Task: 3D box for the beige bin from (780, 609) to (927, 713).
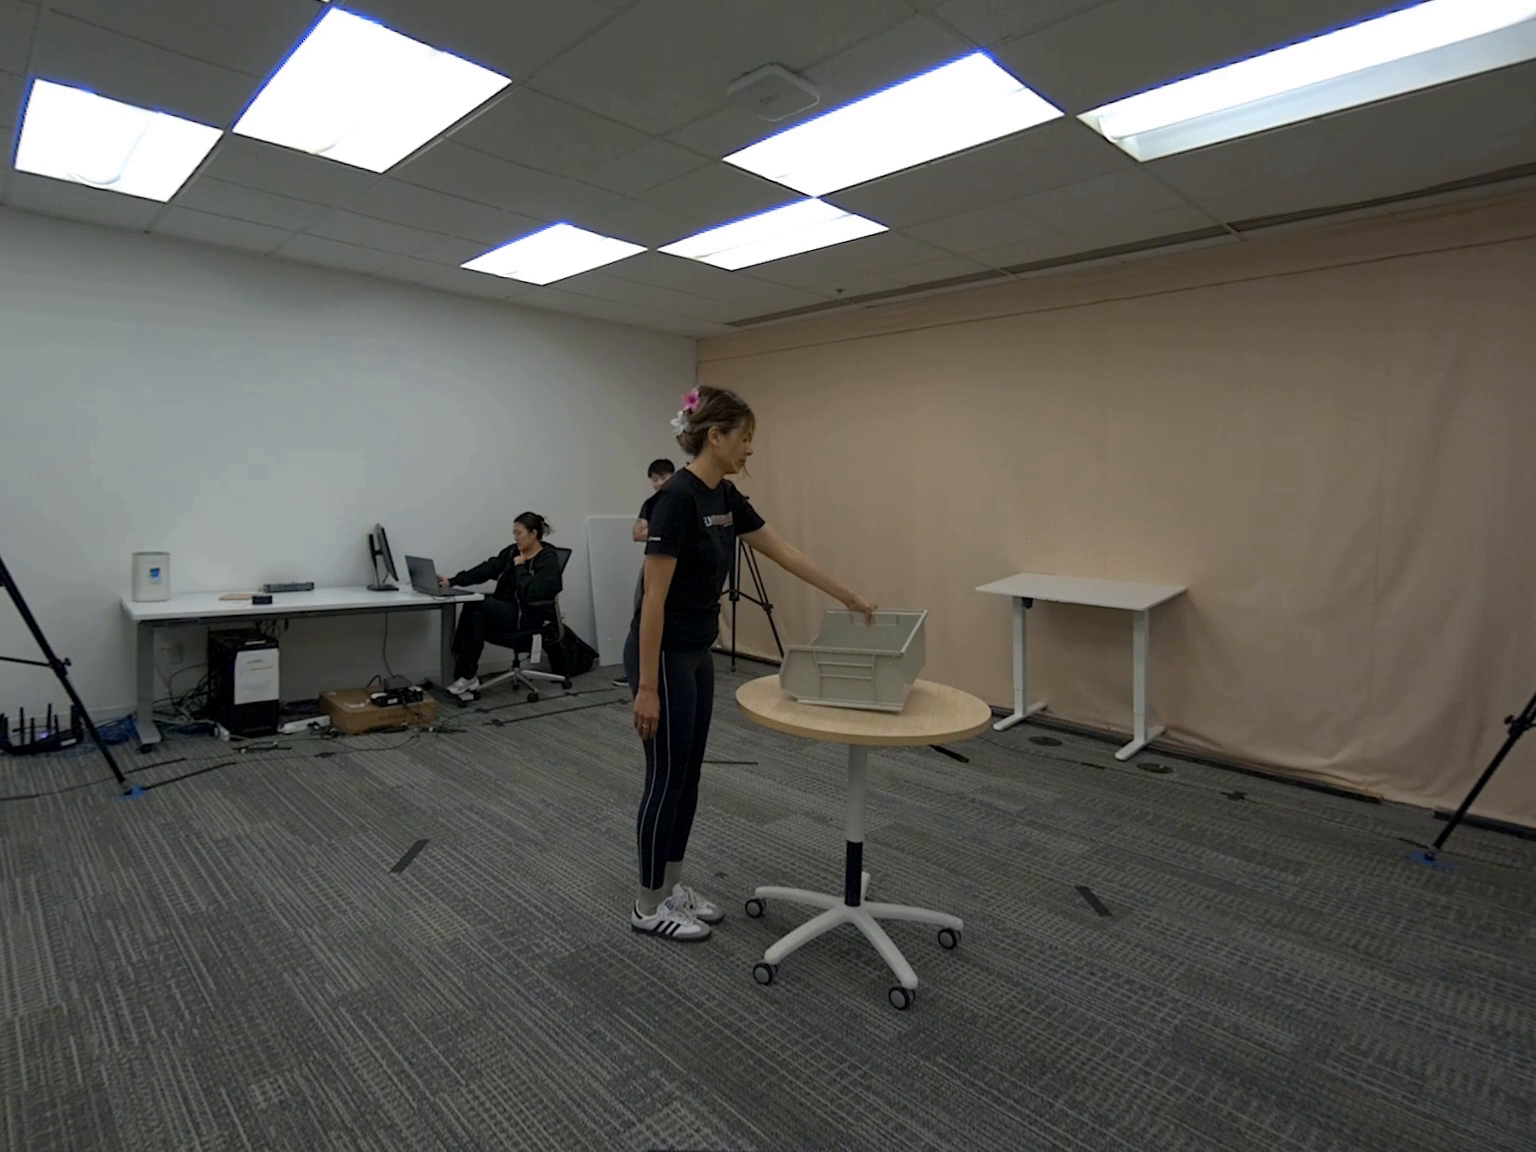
[{"bbox_3d":[0.268,0.247,2.612,0.383,0.187,0.419,2,13,19],"label":"beige bin"}]
